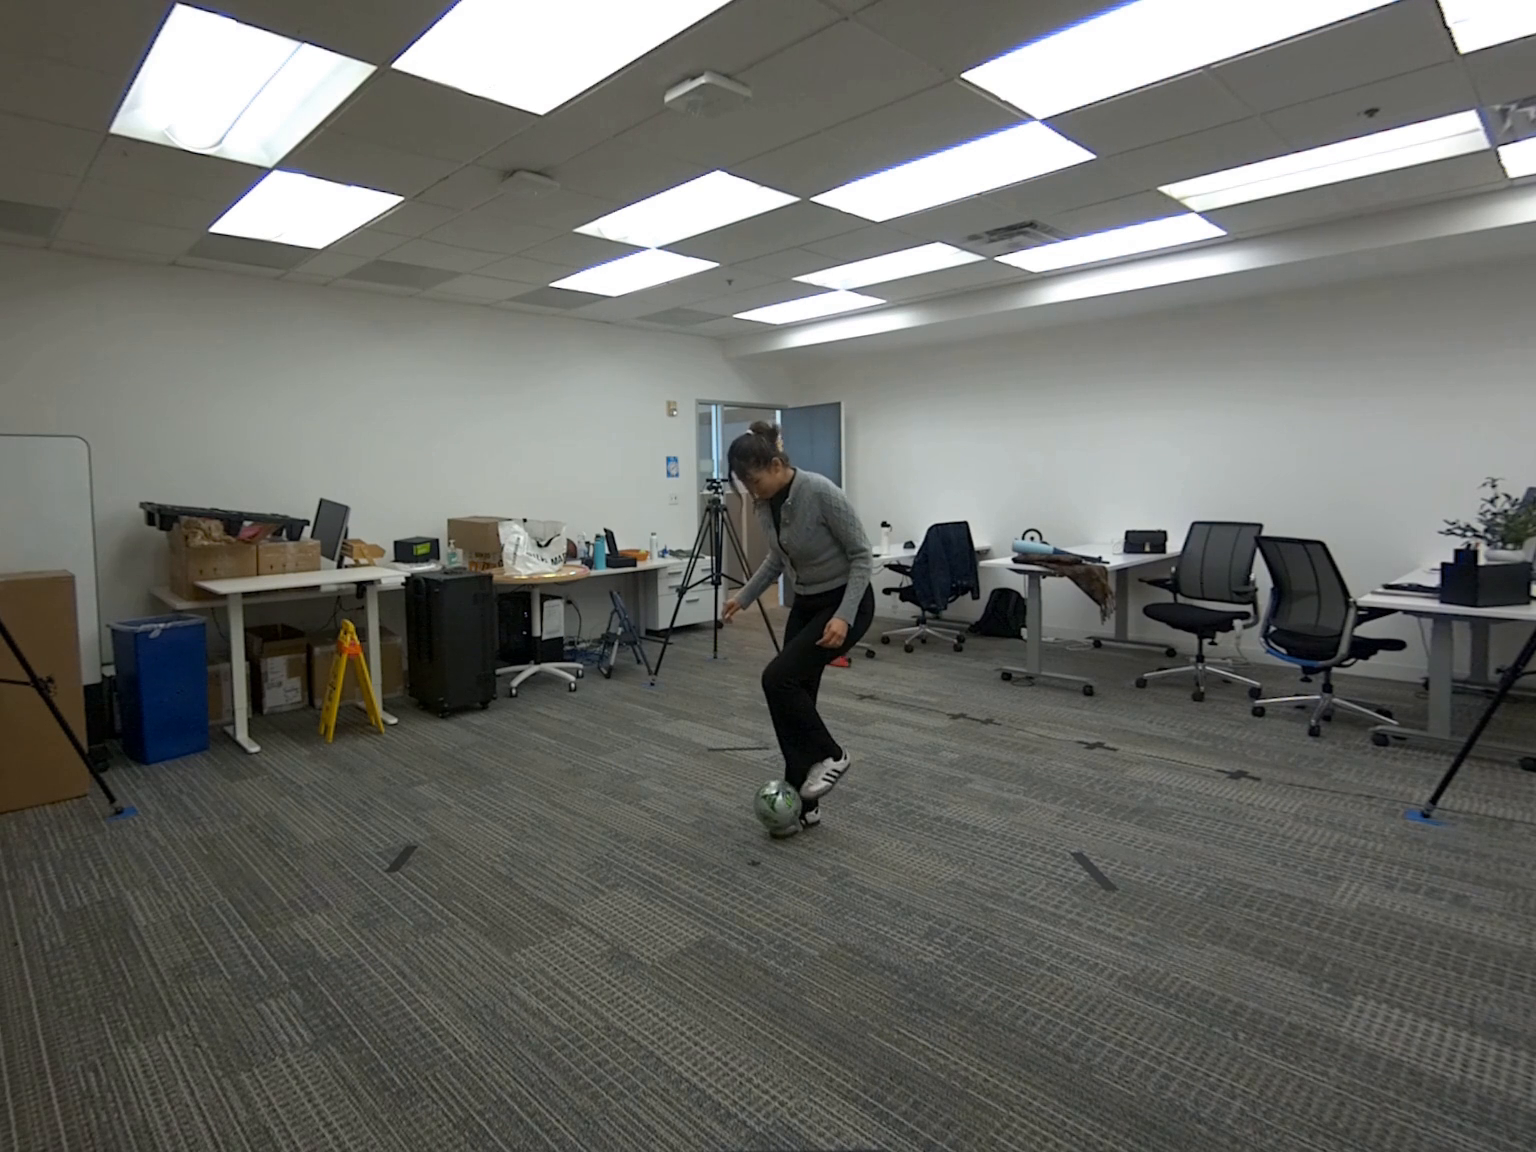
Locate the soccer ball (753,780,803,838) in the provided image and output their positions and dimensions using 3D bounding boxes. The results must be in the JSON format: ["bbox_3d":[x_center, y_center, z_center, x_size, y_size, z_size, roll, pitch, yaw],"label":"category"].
[{"bbox_3d":[0.036,0.892,3.303,0.187,0.187,0.188,-1,5,-2],"label":"soccer ball"}]
